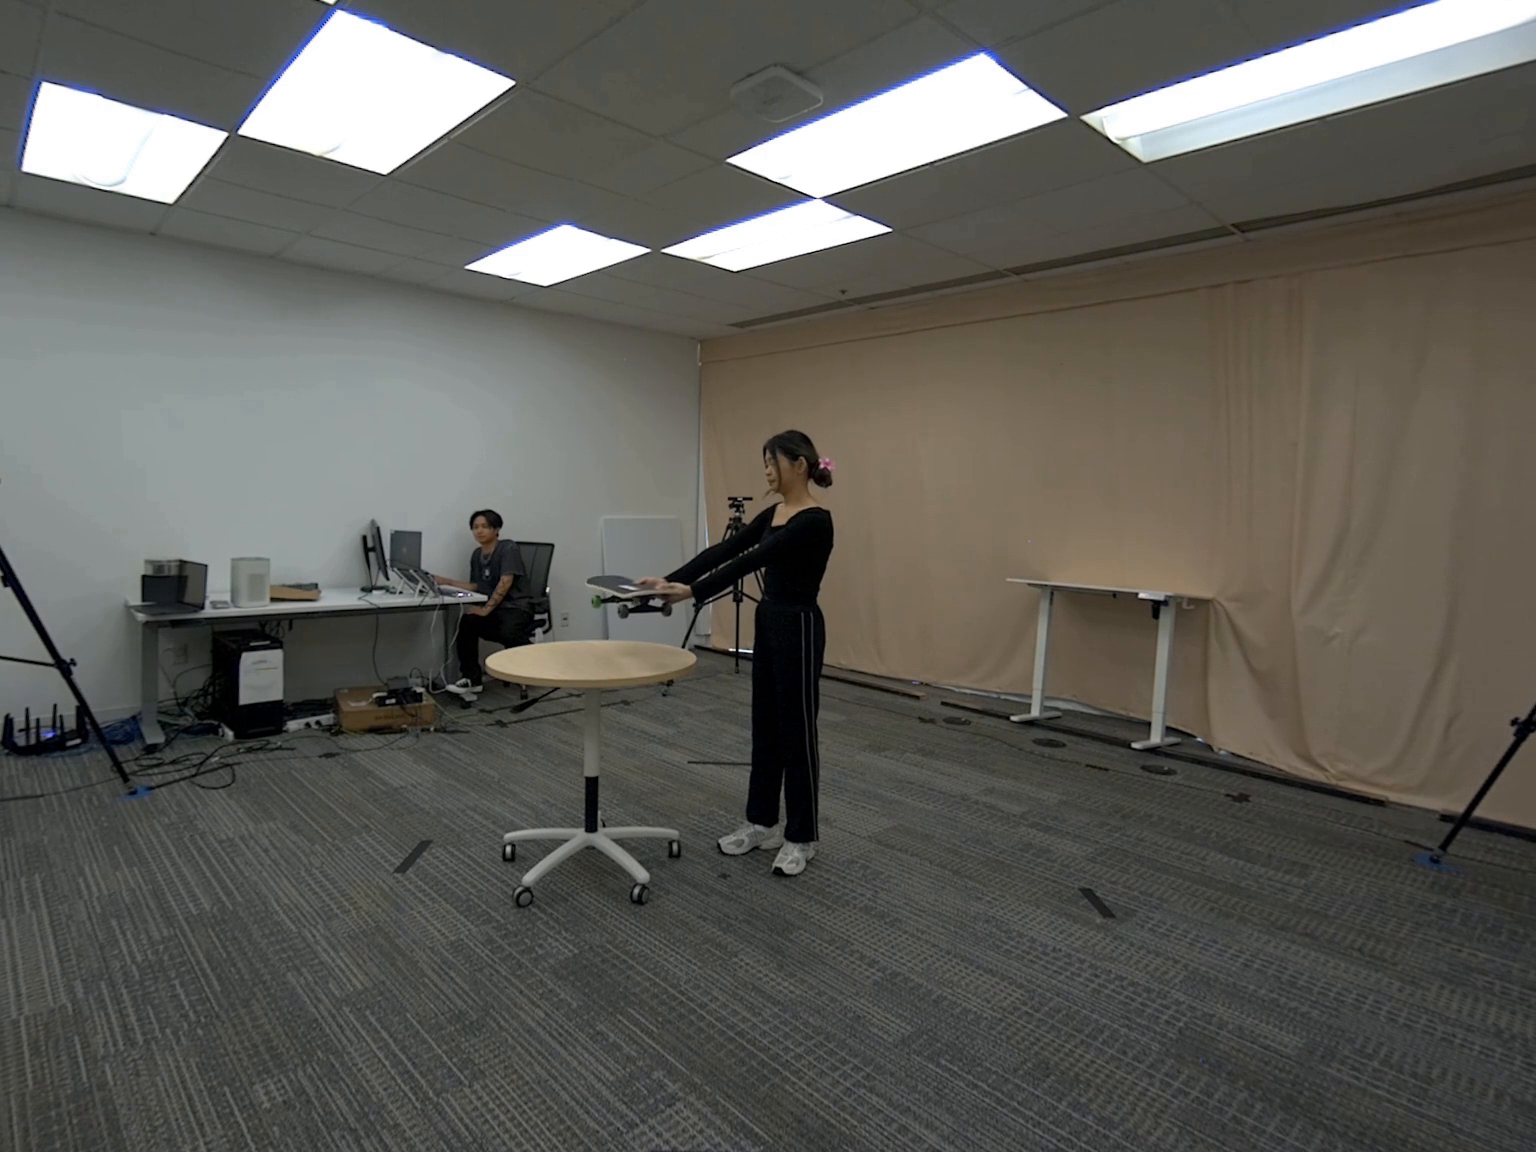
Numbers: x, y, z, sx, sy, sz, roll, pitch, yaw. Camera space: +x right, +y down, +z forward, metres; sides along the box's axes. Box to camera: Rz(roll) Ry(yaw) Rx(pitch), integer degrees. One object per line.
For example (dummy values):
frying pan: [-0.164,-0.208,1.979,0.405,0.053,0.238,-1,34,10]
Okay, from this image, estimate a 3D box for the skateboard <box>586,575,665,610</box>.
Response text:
skateboard: [-0.499,0.079,3.032,0.190,0.110,0.800,-3,4,-24]
